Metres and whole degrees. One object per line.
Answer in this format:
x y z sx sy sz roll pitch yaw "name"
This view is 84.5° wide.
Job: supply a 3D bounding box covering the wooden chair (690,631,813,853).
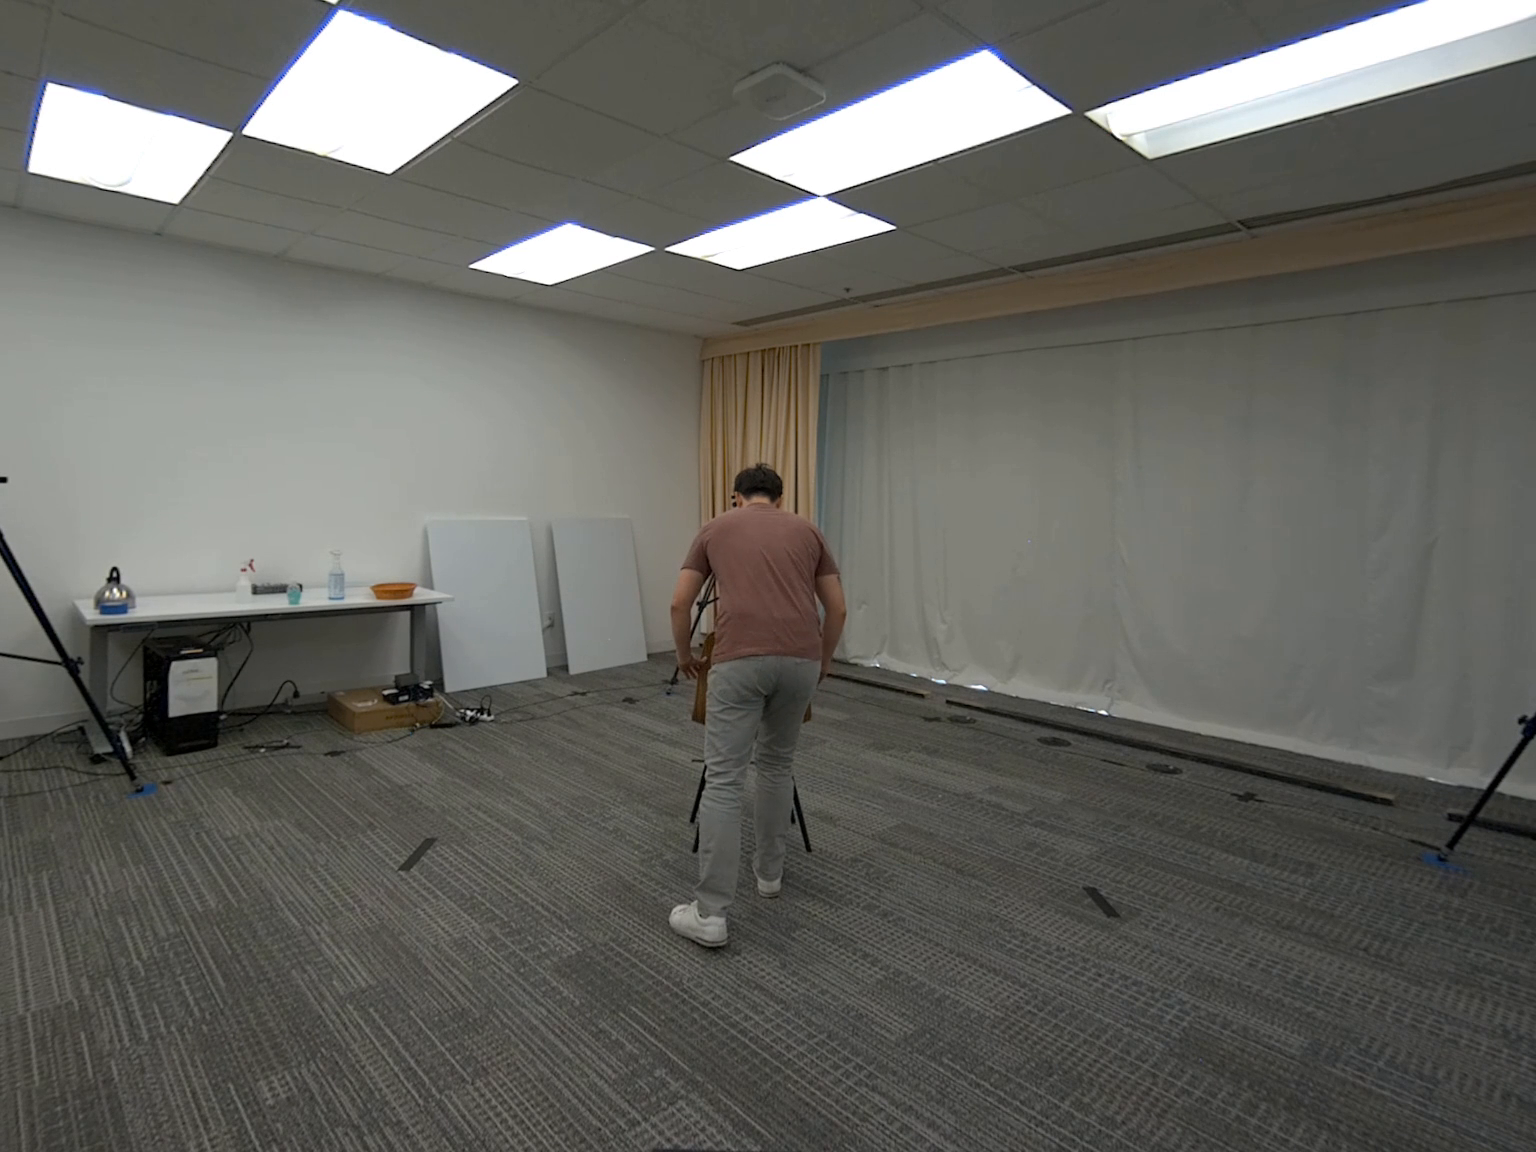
-0.084 0.625 3.424 0.476 0.877 0.525 0 0 -5 "wooden chair"
